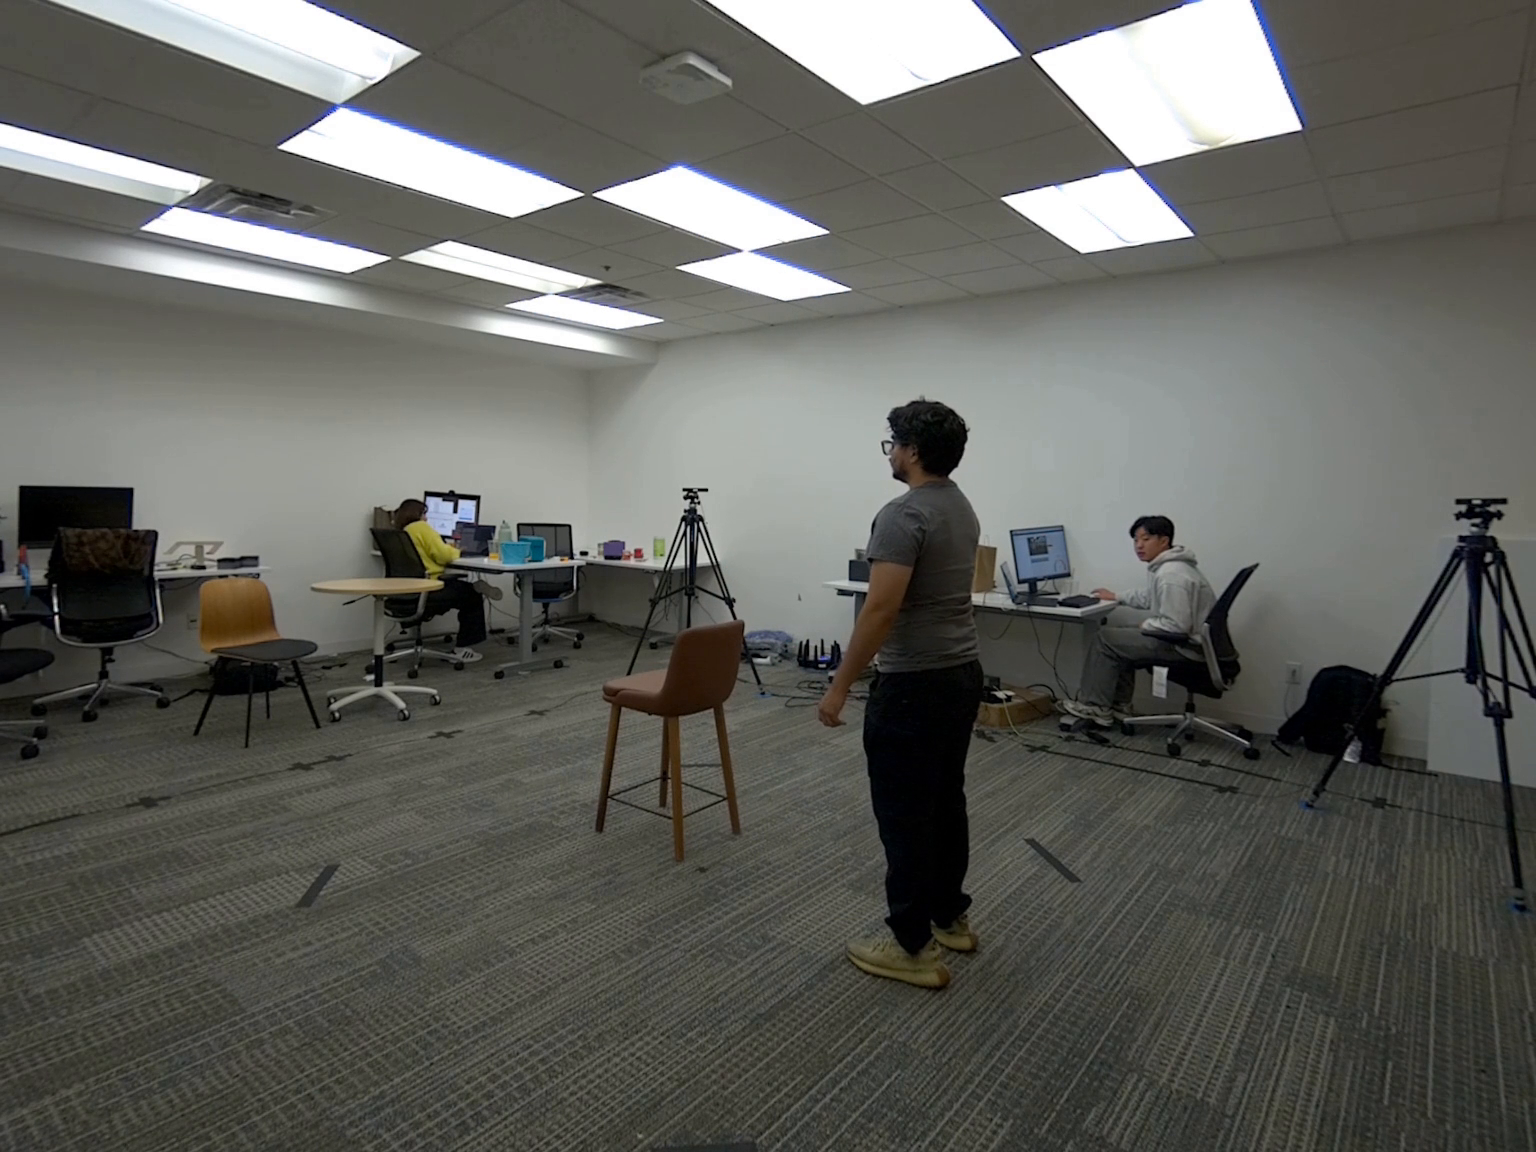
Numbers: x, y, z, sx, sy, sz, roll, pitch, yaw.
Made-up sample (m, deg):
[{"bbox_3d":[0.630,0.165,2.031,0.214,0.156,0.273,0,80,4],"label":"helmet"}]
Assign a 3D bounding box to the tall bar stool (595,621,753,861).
[{"bbox_3d":[-0.399,0.600,3.429,0.483,0.887,0.443,6,5,38],"label":"tall bar stool"}]
